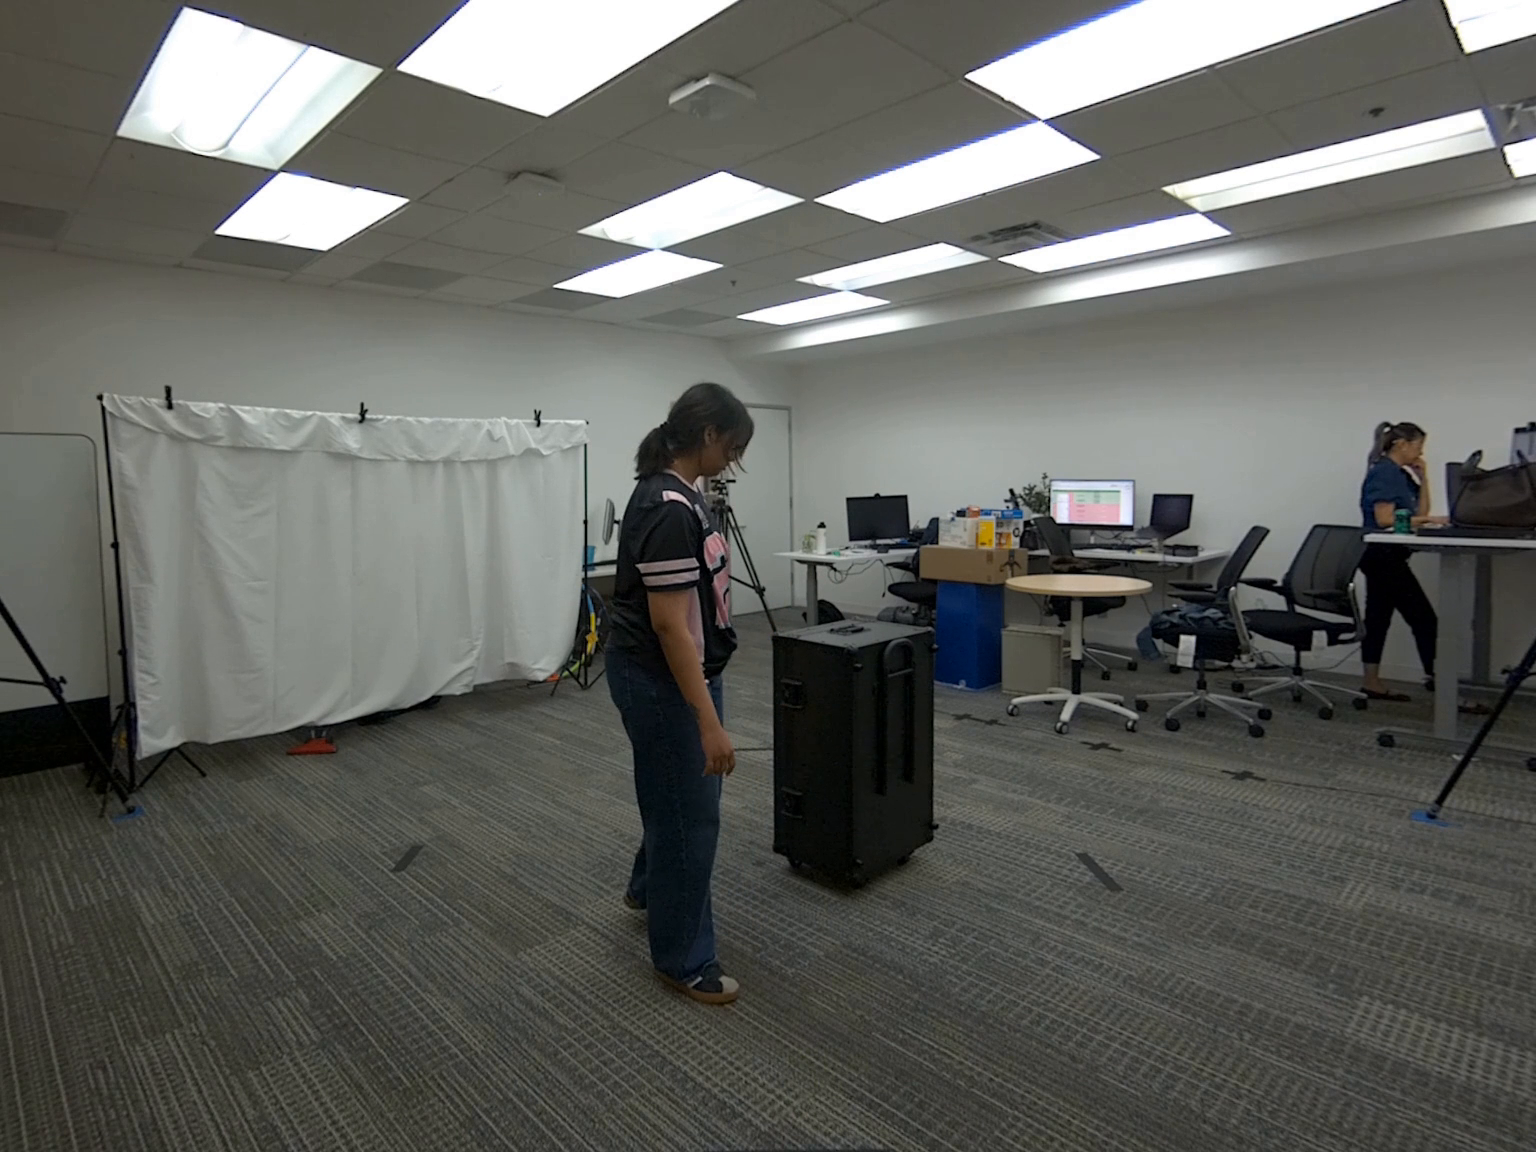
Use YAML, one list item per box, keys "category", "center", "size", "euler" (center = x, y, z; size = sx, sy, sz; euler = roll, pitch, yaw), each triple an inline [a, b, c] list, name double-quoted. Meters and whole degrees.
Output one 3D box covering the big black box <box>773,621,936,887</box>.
- category: "big black box"
  center: [0.324, 0.620, 3.055]
  size: [0.409, 0.858, 0.507]
  euler: [6, 7, 45]
